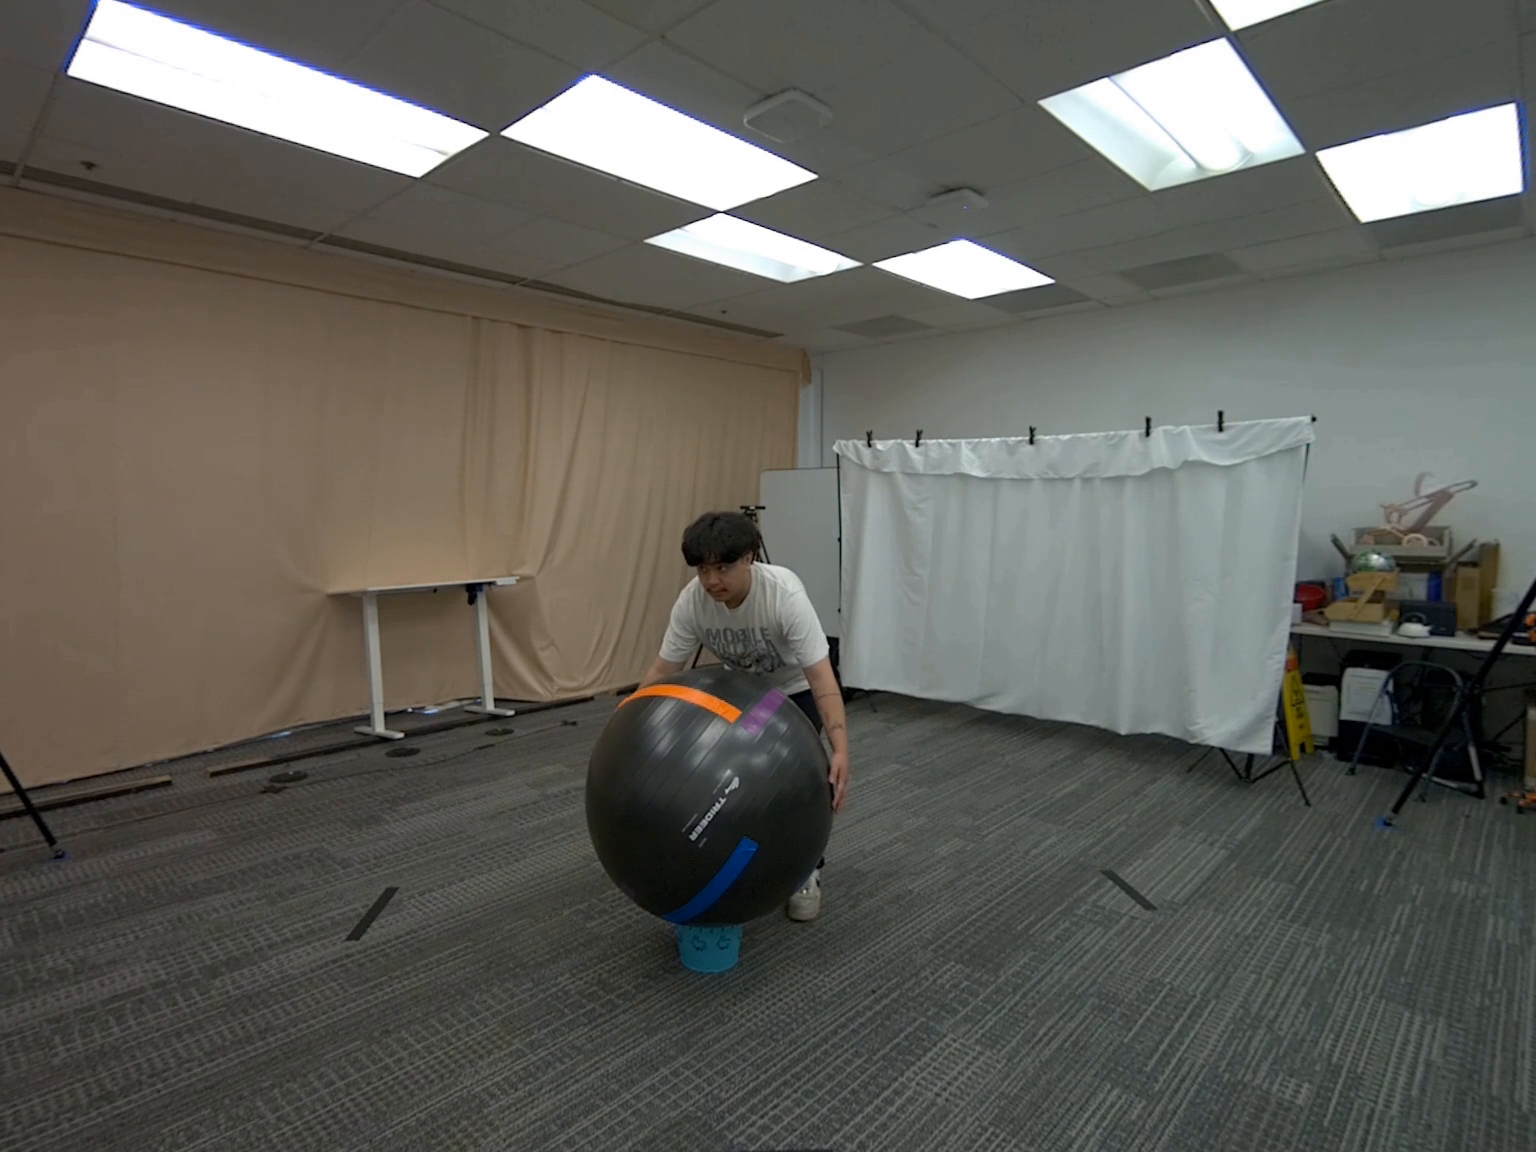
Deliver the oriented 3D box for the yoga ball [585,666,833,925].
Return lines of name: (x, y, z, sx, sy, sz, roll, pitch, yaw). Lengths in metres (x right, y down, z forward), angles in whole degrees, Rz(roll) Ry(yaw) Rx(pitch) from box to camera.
yoga ball: (-0.183, 0.670, 2.575, 0.757, 0.756, 0.760, 0, 4, -2)
